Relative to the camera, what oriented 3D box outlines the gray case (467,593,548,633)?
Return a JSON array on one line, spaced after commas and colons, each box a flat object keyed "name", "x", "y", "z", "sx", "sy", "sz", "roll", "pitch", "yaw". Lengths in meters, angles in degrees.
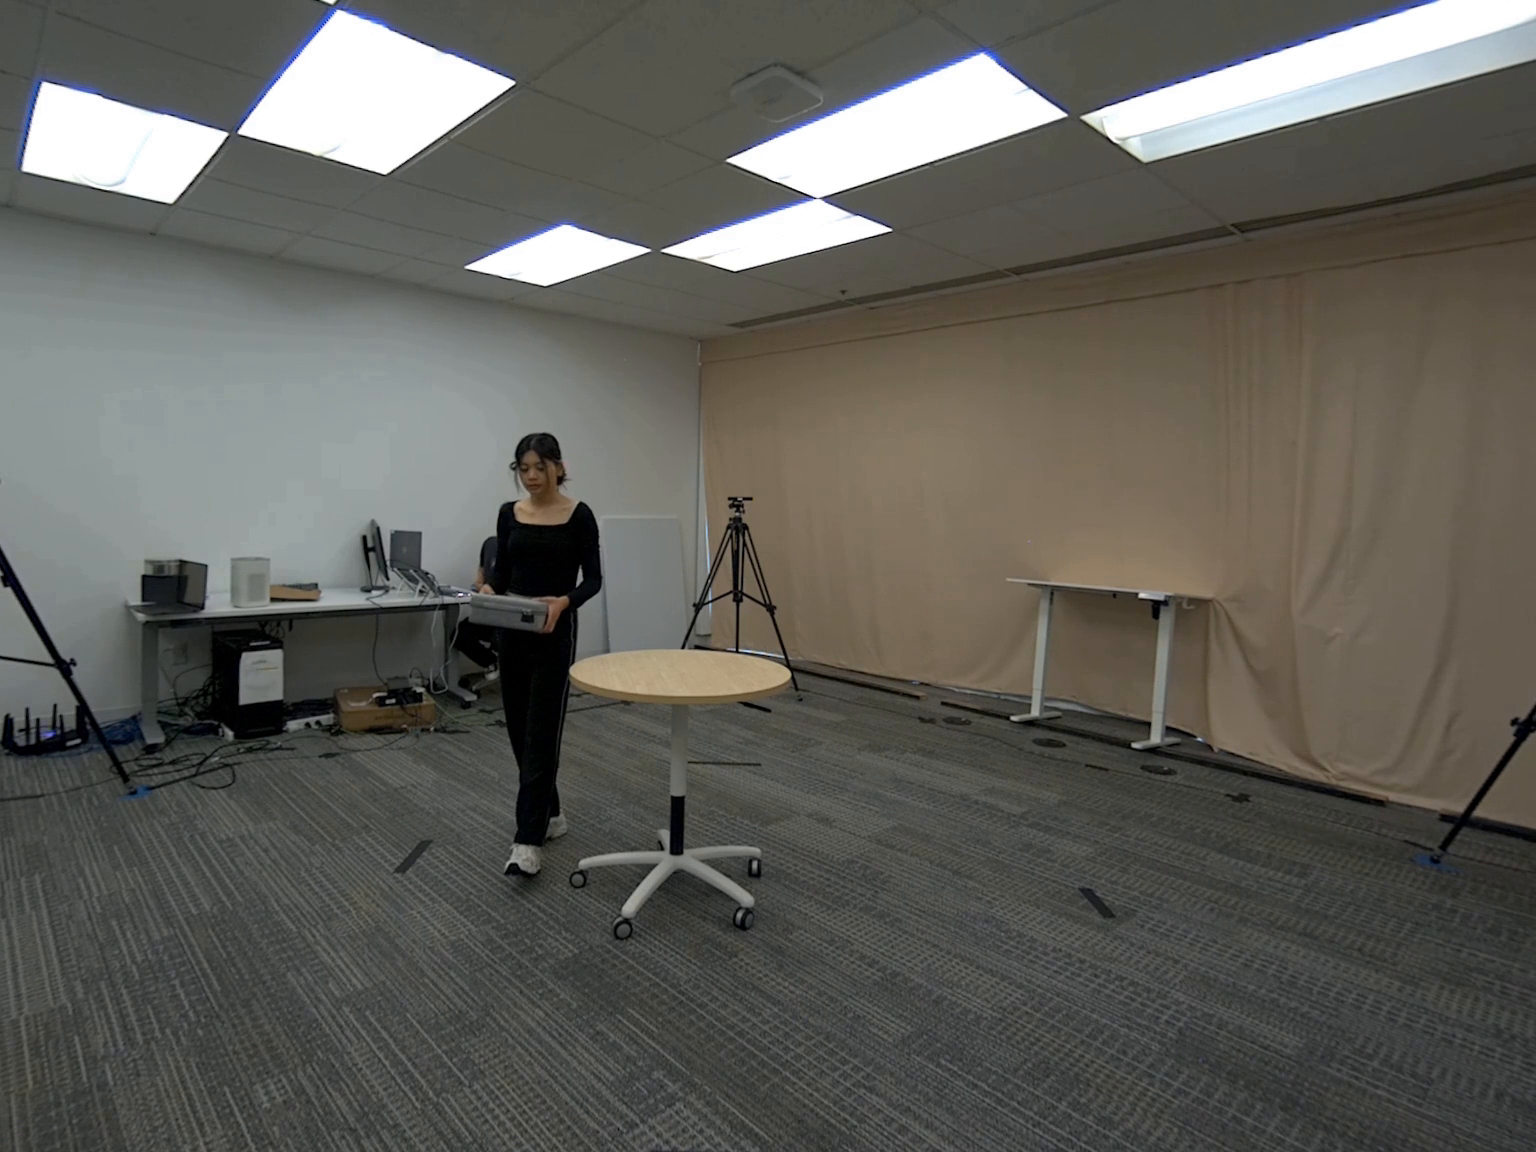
[{"name": "gray case", "x": -0.921, "y": 0.126, "z": 3.031, "sx": 0.258, "sy": 0.104, "sz": 0.259, "roll": 5, "pitch": -2, "yaw": 4}]
